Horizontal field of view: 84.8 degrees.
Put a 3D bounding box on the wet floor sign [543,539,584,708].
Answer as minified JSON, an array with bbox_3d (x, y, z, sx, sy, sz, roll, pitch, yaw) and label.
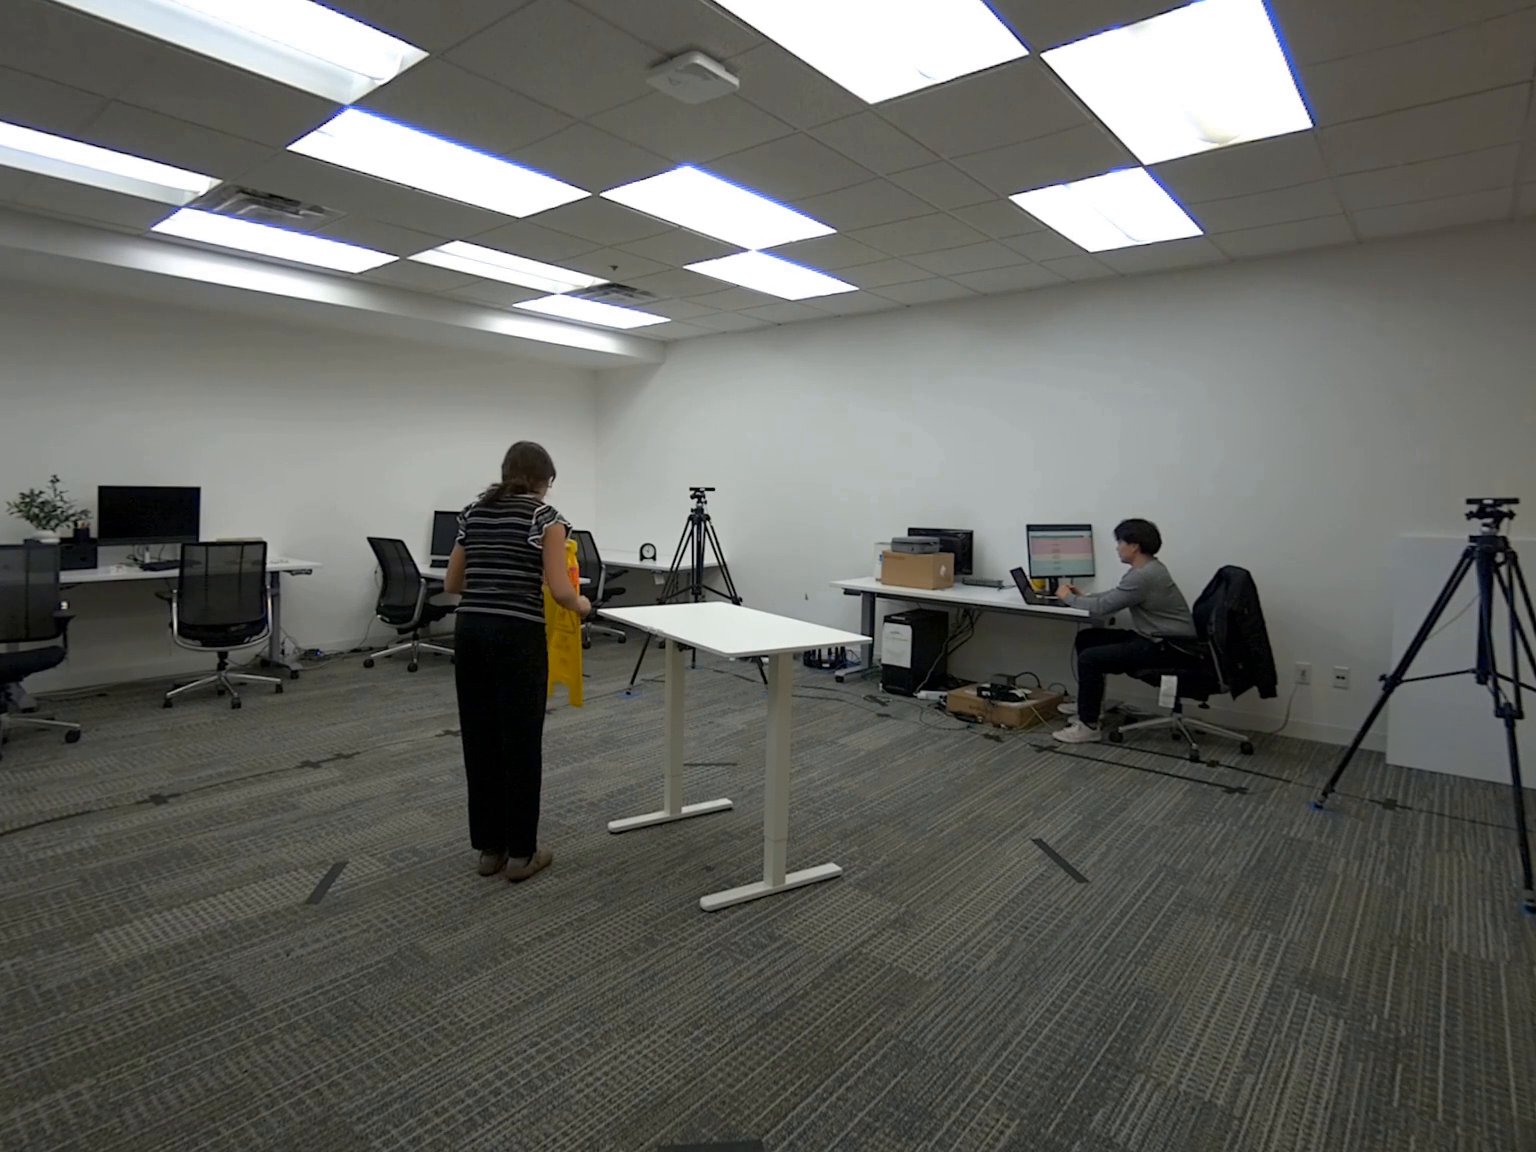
[{"bbox_3d":[-0.883,0.176,3.353,0.292,0.647,0.280,5,-1,44],"label":"wet floor sign"}]
